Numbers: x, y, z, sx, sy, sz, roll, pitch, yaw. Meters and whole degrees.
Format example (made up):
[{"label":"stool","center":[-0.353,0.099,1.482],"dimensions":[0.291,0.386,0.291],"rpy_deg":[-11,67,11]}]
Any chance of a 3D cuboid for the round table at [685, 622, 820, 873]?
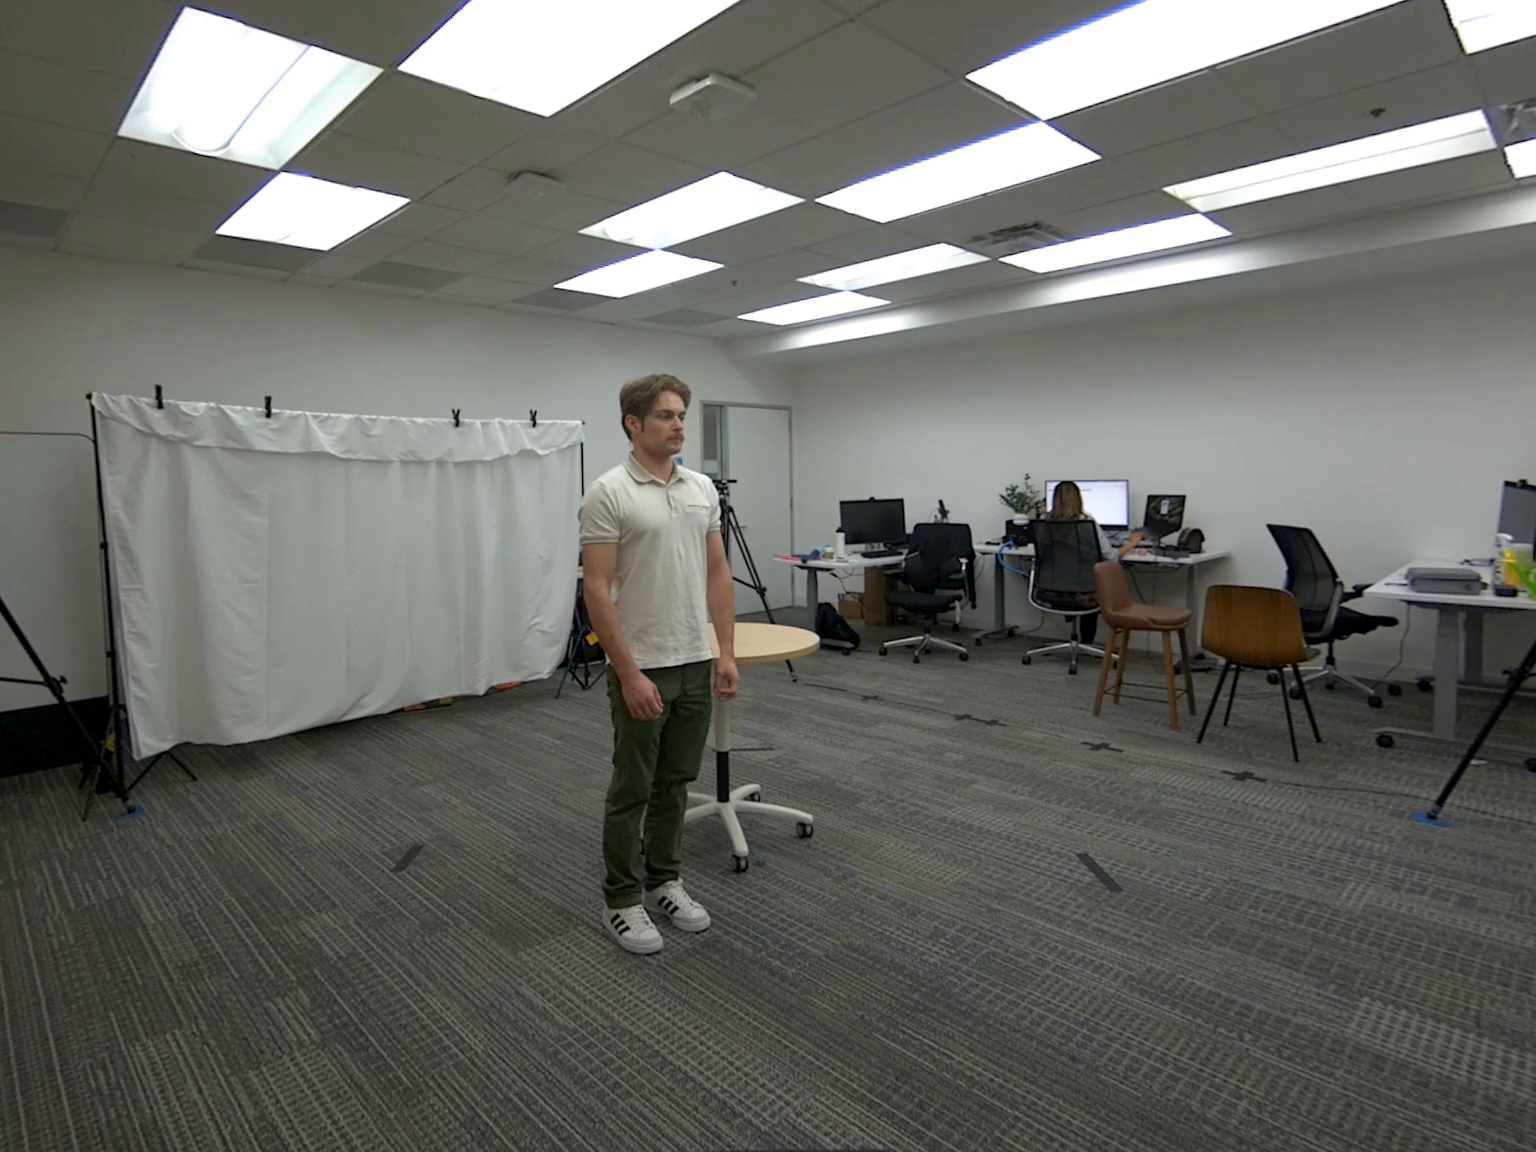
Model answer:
[{"label":"round table","center":[-0.173,0.635,3.342],"dimensions":[0.763,0.791,0.767],"rpy_deg":[-1,4,-2]}]
